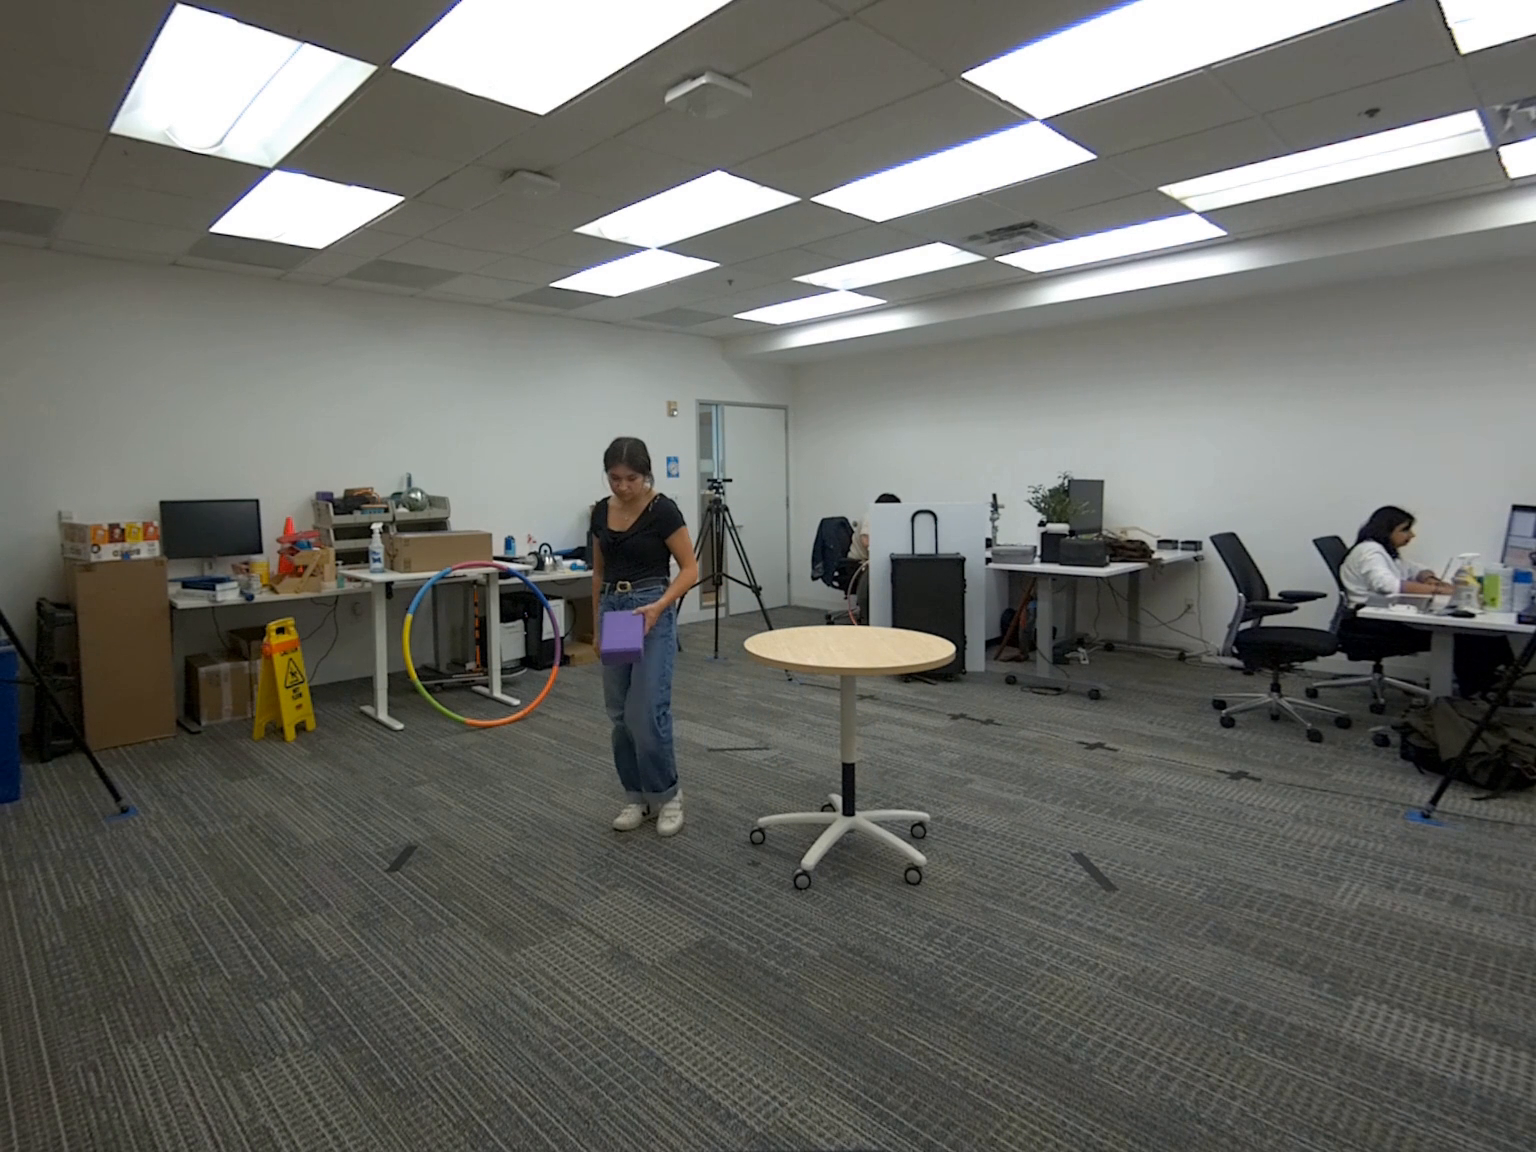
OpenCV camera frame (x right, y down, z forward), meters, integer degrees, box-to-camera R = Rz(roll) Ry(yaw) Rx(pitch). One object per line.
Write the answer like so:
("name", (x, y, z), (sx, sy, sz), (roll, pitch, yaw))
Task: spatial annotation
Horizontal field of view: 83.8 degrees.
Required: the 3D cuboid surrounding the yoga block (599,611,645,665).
("yoga block", (-0.537, 0.231, 3.163), (0.150, 0.074, 0.234), (1, 37, 5))
